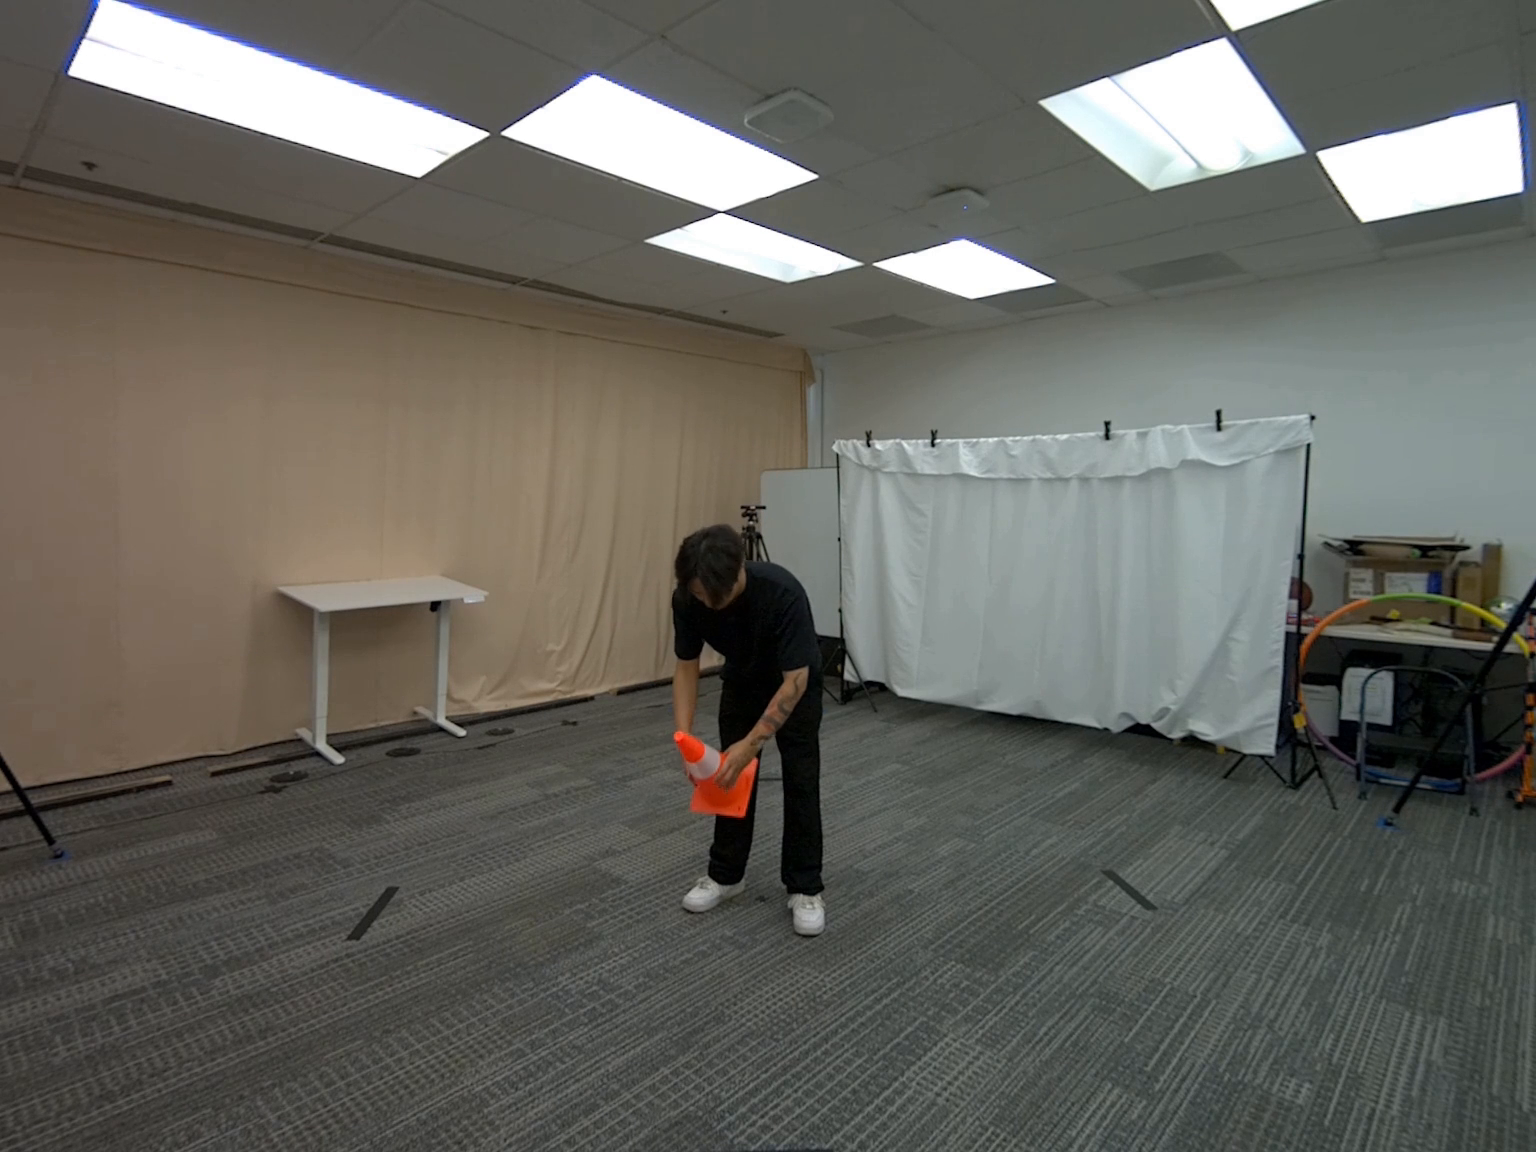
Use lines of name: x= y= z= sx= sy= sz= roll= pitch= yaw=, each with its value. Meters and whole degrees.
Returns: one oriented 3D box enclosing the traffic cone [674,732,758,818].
traffic cone: x=-0.205 y=0.570 z=2.589 sx=0.208 sy=0.207 sz=0.371 roll=-2 pitch=-35 yaw=23
